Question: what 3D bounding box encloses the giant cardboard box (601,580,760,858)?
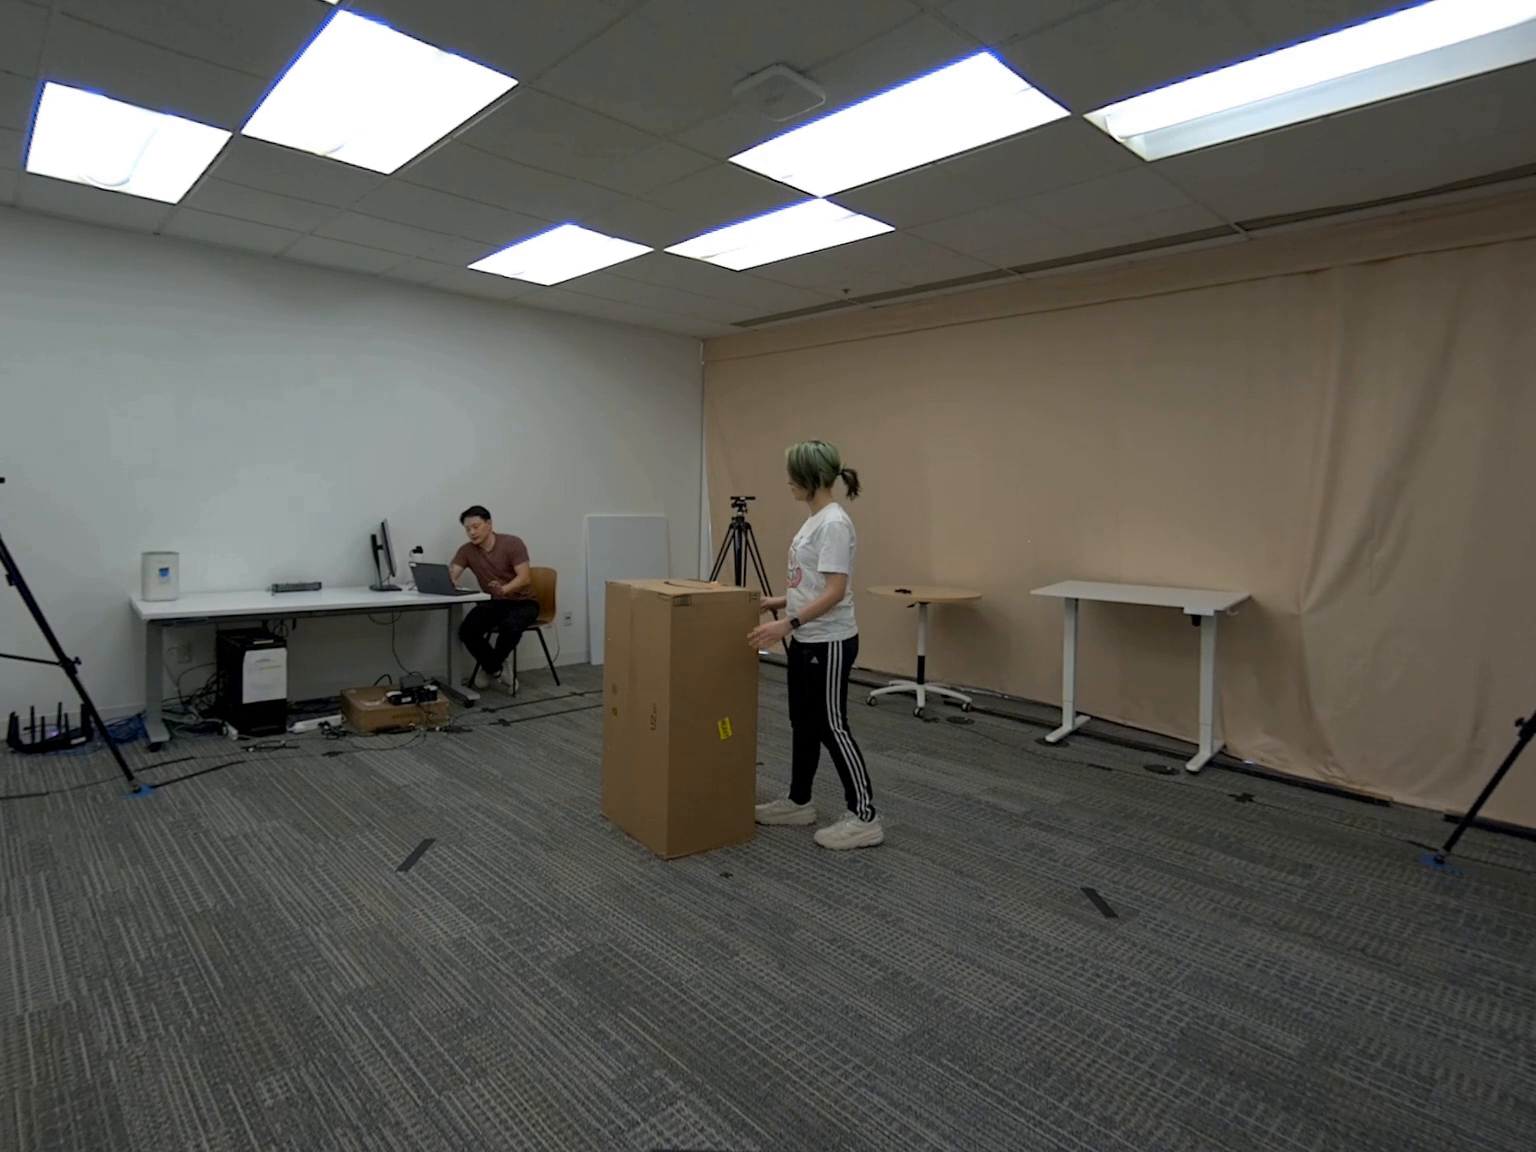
[{"bbox_3d":[-0.387,0.555,3.538,0.437,1.025,0.598,-1,4,-37],"label":"giant cardboard box"}]
